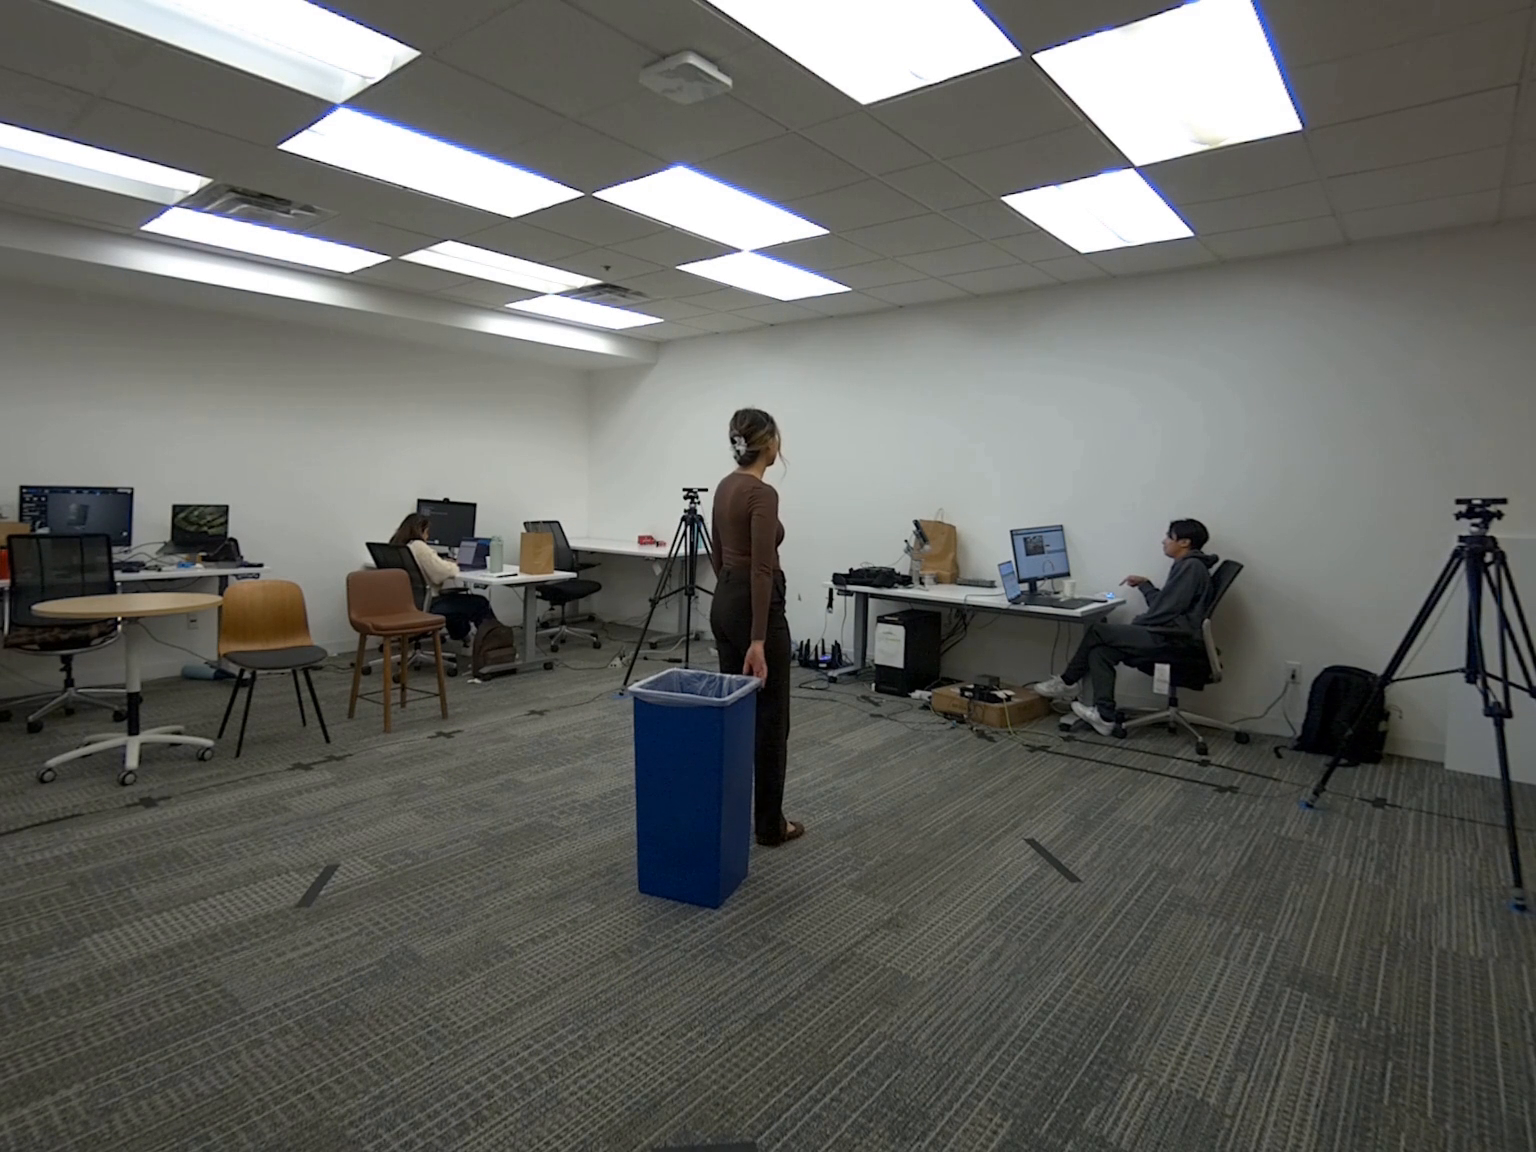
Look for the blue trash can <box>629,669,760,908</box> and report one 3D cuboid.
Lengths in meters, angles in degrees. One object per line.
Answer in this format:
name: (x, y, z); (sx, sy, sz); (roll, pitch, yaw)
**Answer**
blue trash can: (-0.260, 0.720, 2.988); (0.382, 0.712, 0.371); (1, 3, 20)
